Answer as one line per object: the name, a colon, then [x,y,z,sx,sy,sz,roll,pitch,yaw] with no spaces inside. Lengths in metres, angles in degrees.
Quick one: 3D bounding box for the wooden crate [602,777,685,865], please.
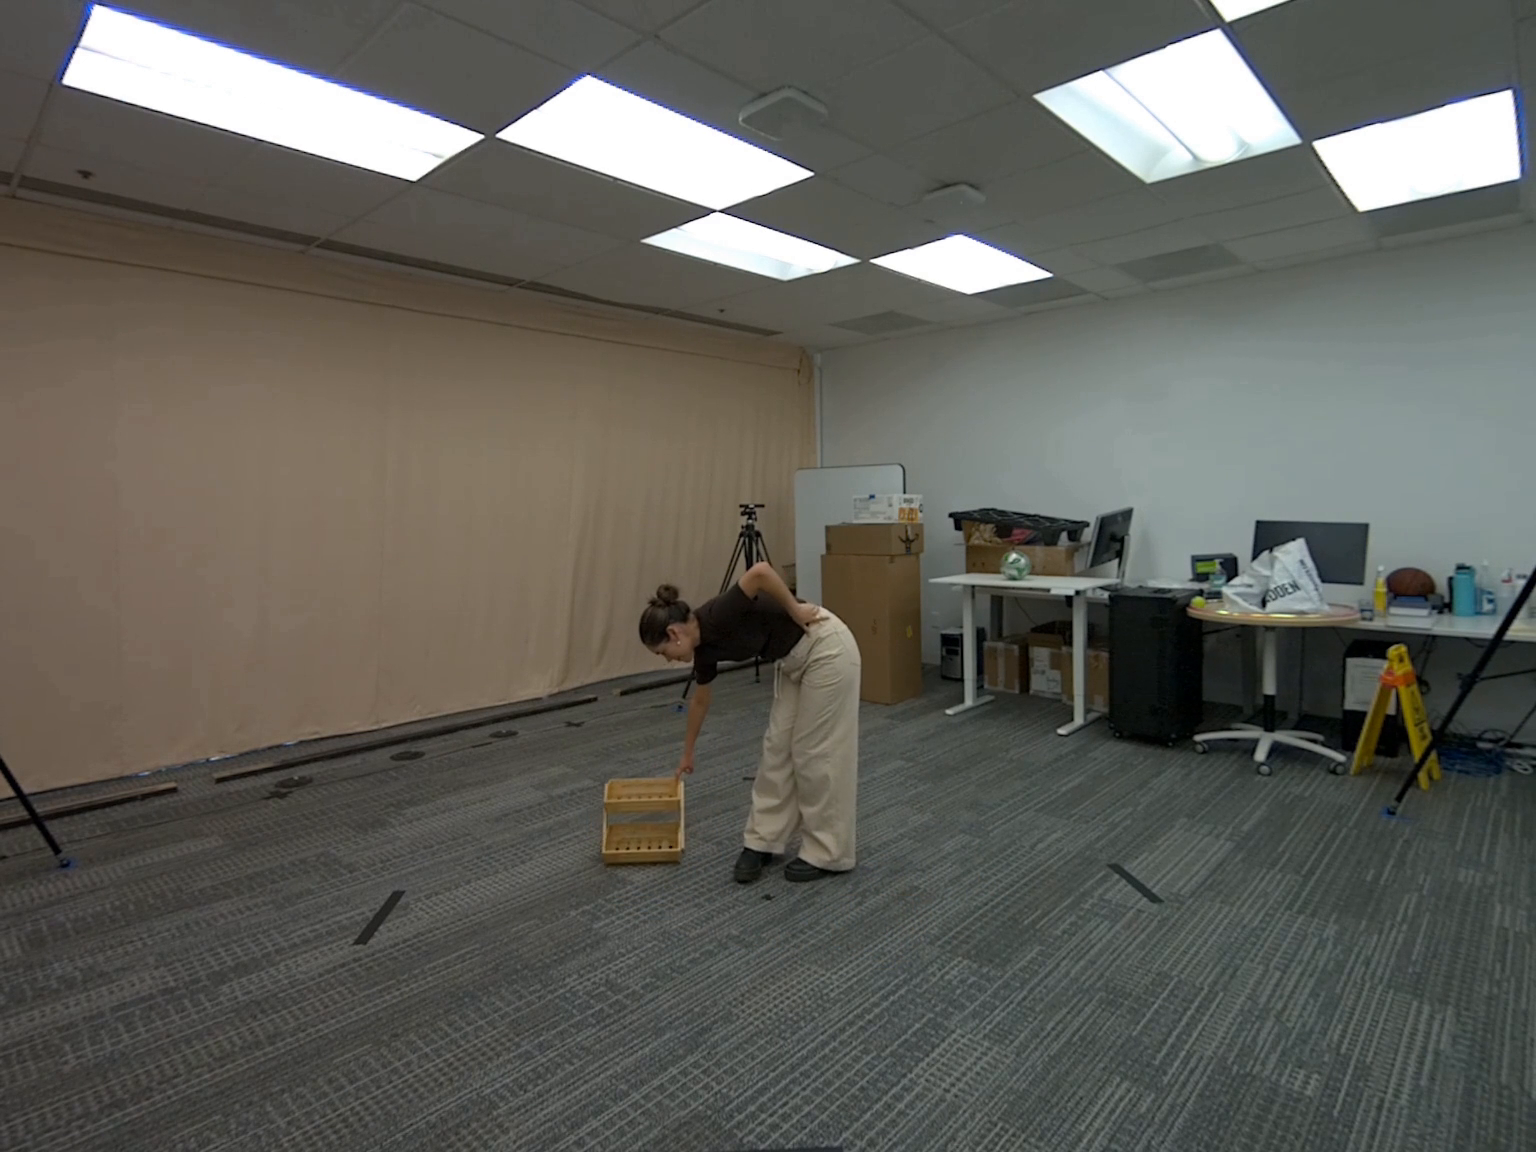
wooden crate: [-0.504,0.973,3.389,0.325,0.274,0.301,-2,-2,0]
